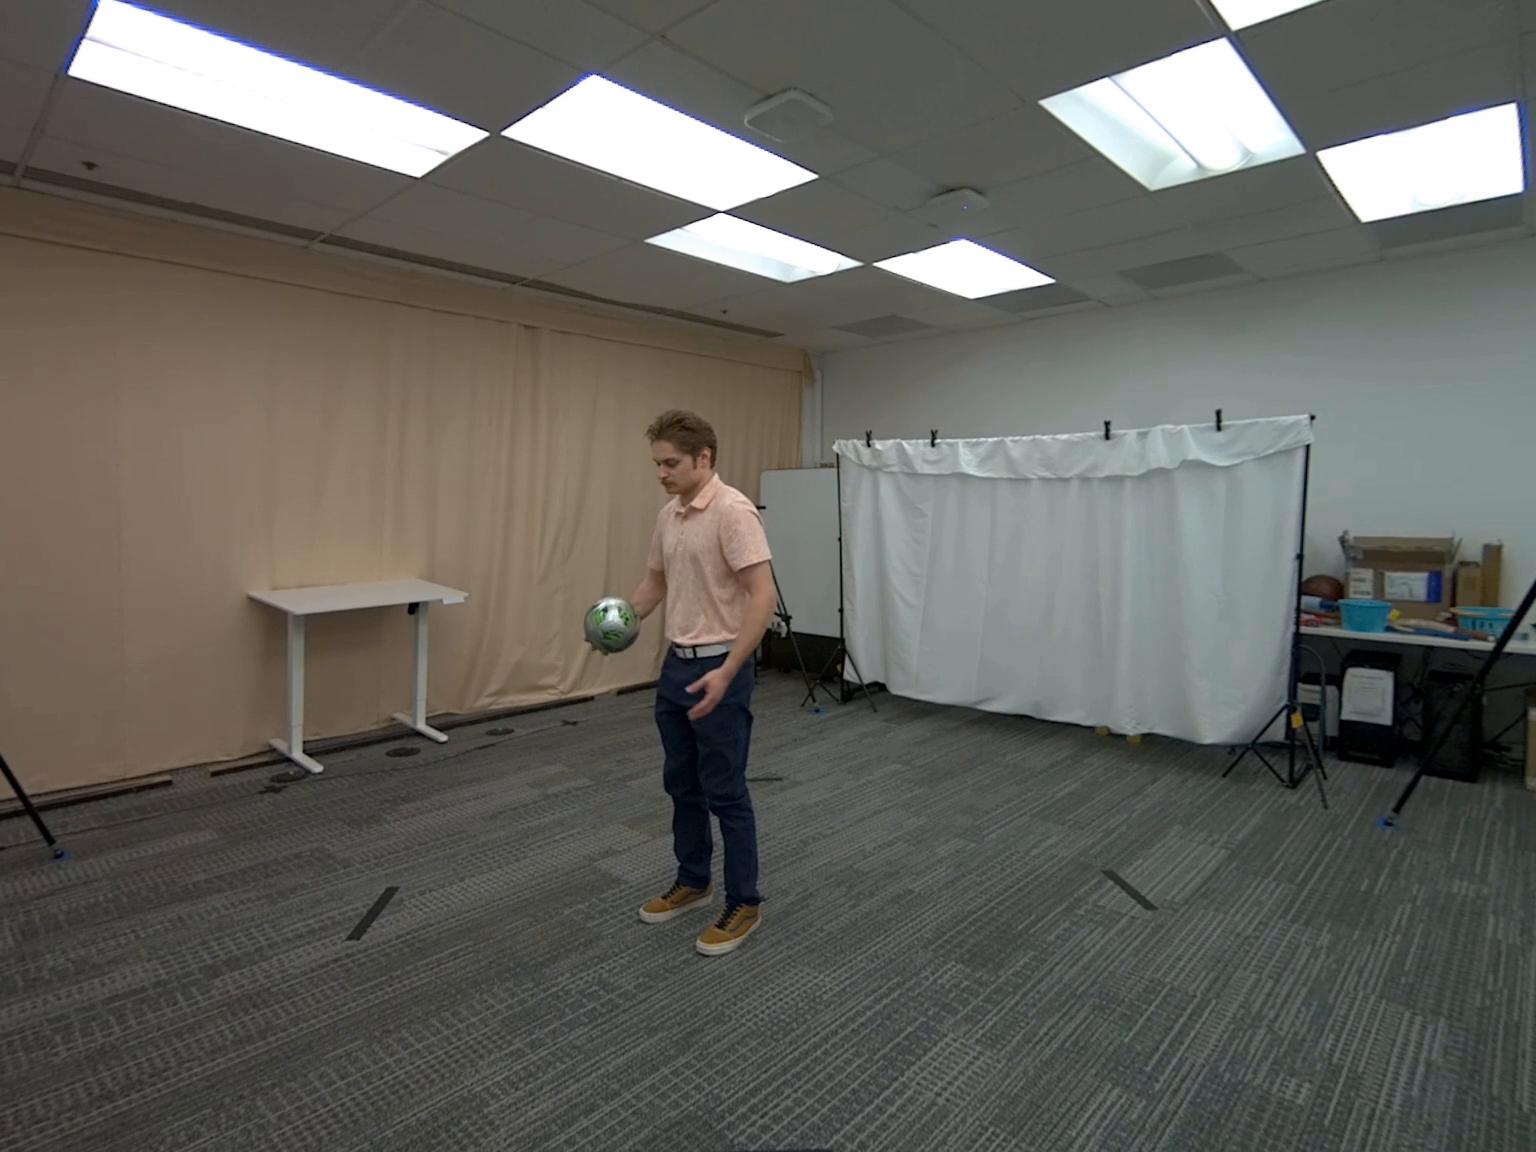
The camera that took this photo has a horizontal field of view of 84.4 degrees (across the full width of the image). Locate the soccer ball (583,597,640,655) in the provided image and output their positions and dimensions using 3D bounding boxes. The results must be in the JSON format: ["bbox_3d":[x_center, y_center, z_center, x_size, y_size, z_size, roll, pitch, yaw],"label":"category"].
[{"bbox_3d":[-0.484,0.157,2.784,0.187,0.187,0.188,0,4,-2],"label":"soccer ball"}]
